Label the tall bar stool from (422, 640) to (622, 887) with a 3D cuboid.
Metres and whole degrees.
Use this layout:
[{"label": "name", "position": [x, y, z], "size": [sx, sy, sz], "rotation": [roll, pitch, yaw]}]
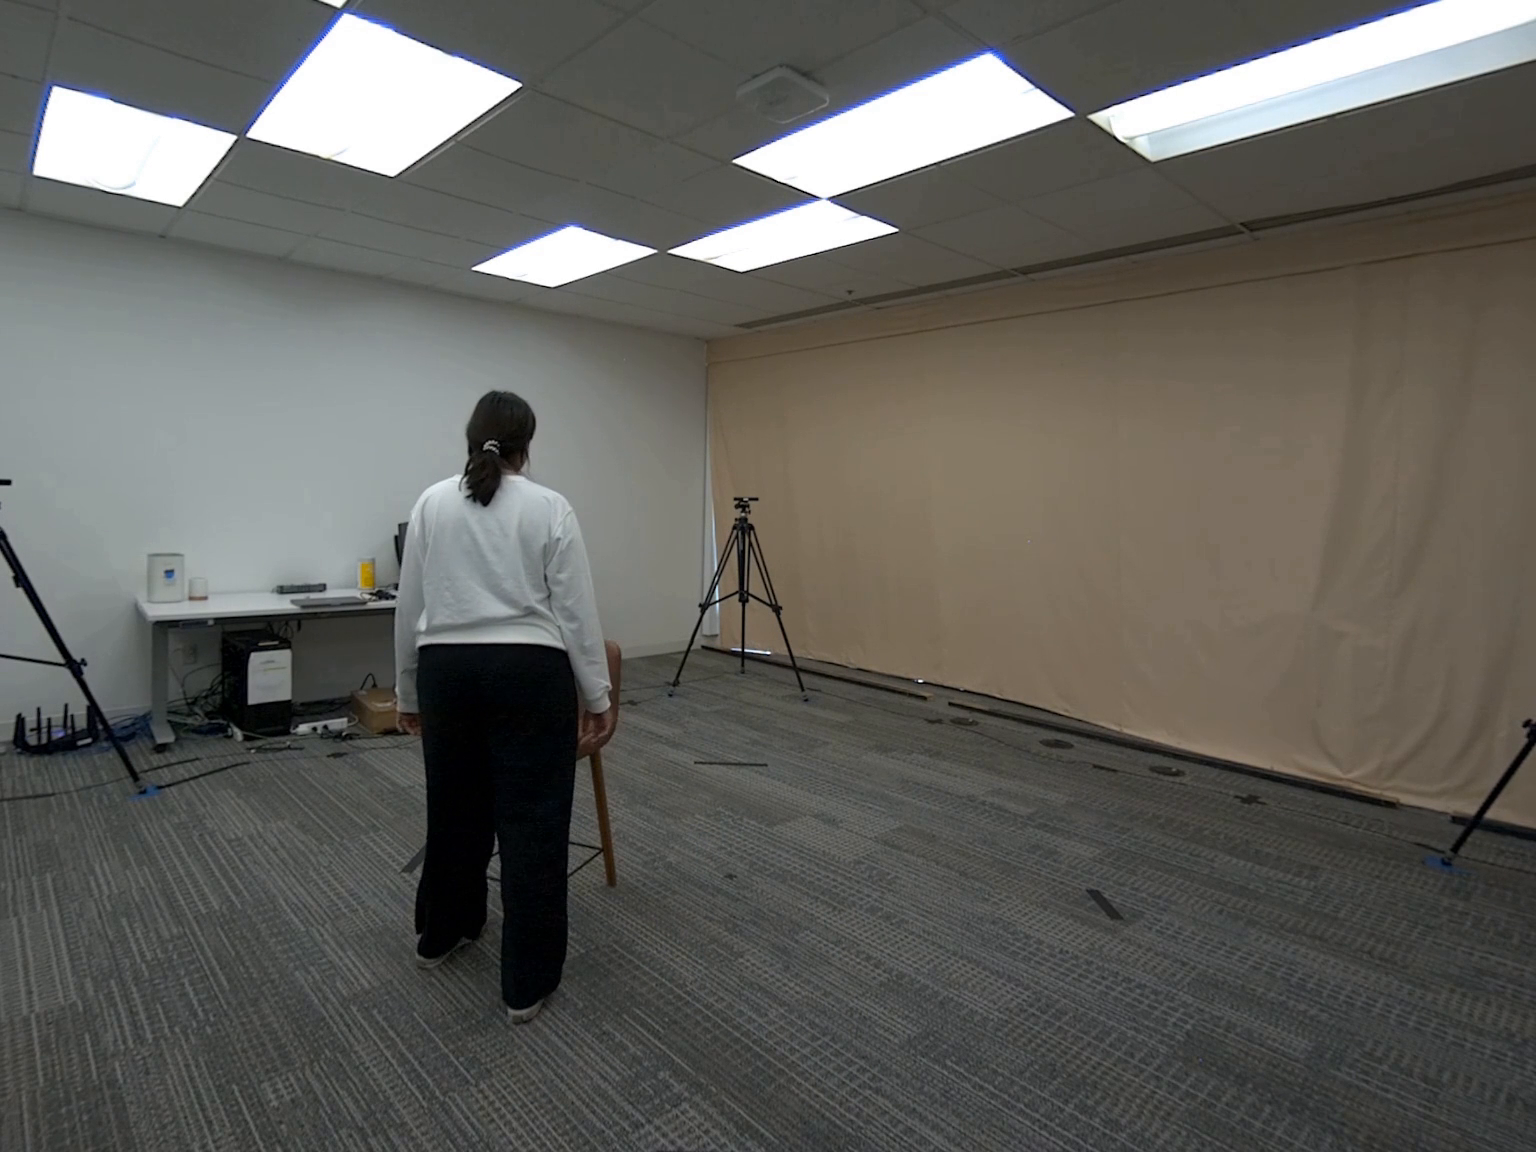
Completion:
[{"label": "tall bar stool", "position": [-0.786, 0.685, 2.867], "size": [0.465, 0.888, 0.459], "rotation": [3, 2, 24]}]
